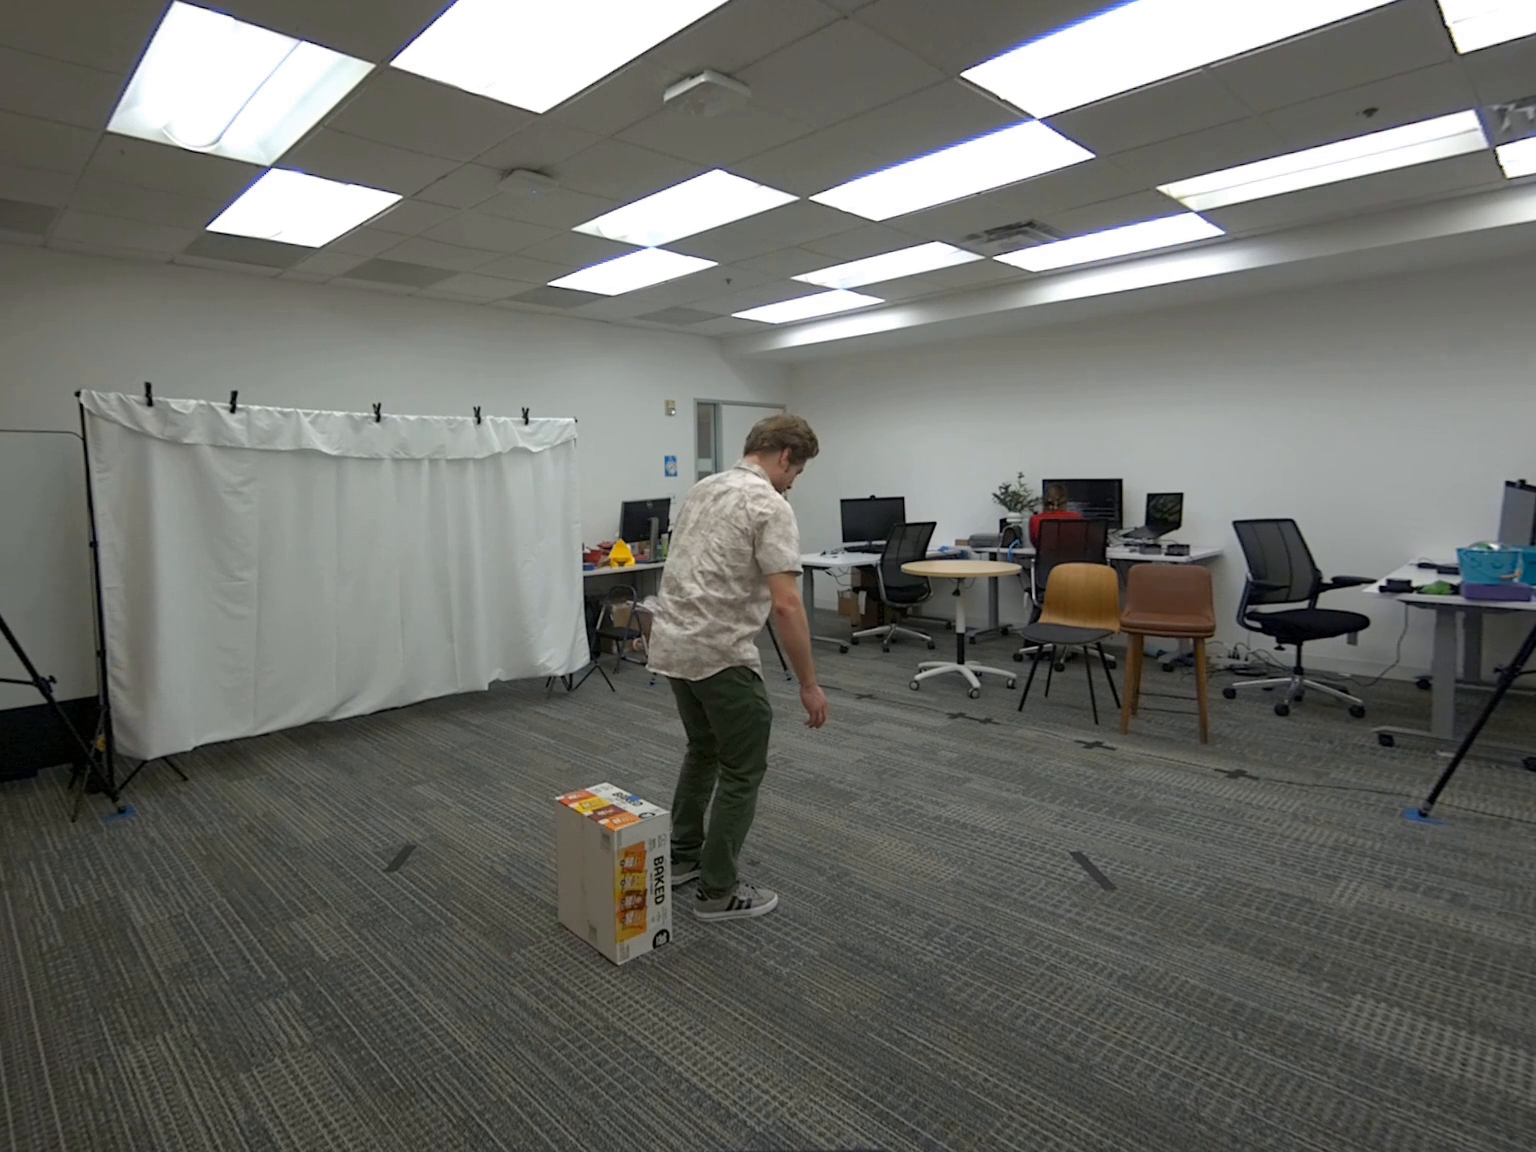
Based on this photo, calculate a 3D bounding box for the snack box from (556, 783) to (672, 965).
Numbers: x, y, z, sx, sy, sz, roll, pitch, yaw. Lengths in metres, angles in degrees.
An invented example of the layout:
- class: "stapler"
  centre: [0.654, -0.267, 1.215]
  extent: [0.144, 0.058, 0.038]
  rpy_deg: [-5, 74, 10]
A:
- class: "snack box"
  centre: [-0.480, 0.904, 2.637]
  extent: [0.200, 0.403, 0.351]
  rpy_deg: [-5, 6, -42]
